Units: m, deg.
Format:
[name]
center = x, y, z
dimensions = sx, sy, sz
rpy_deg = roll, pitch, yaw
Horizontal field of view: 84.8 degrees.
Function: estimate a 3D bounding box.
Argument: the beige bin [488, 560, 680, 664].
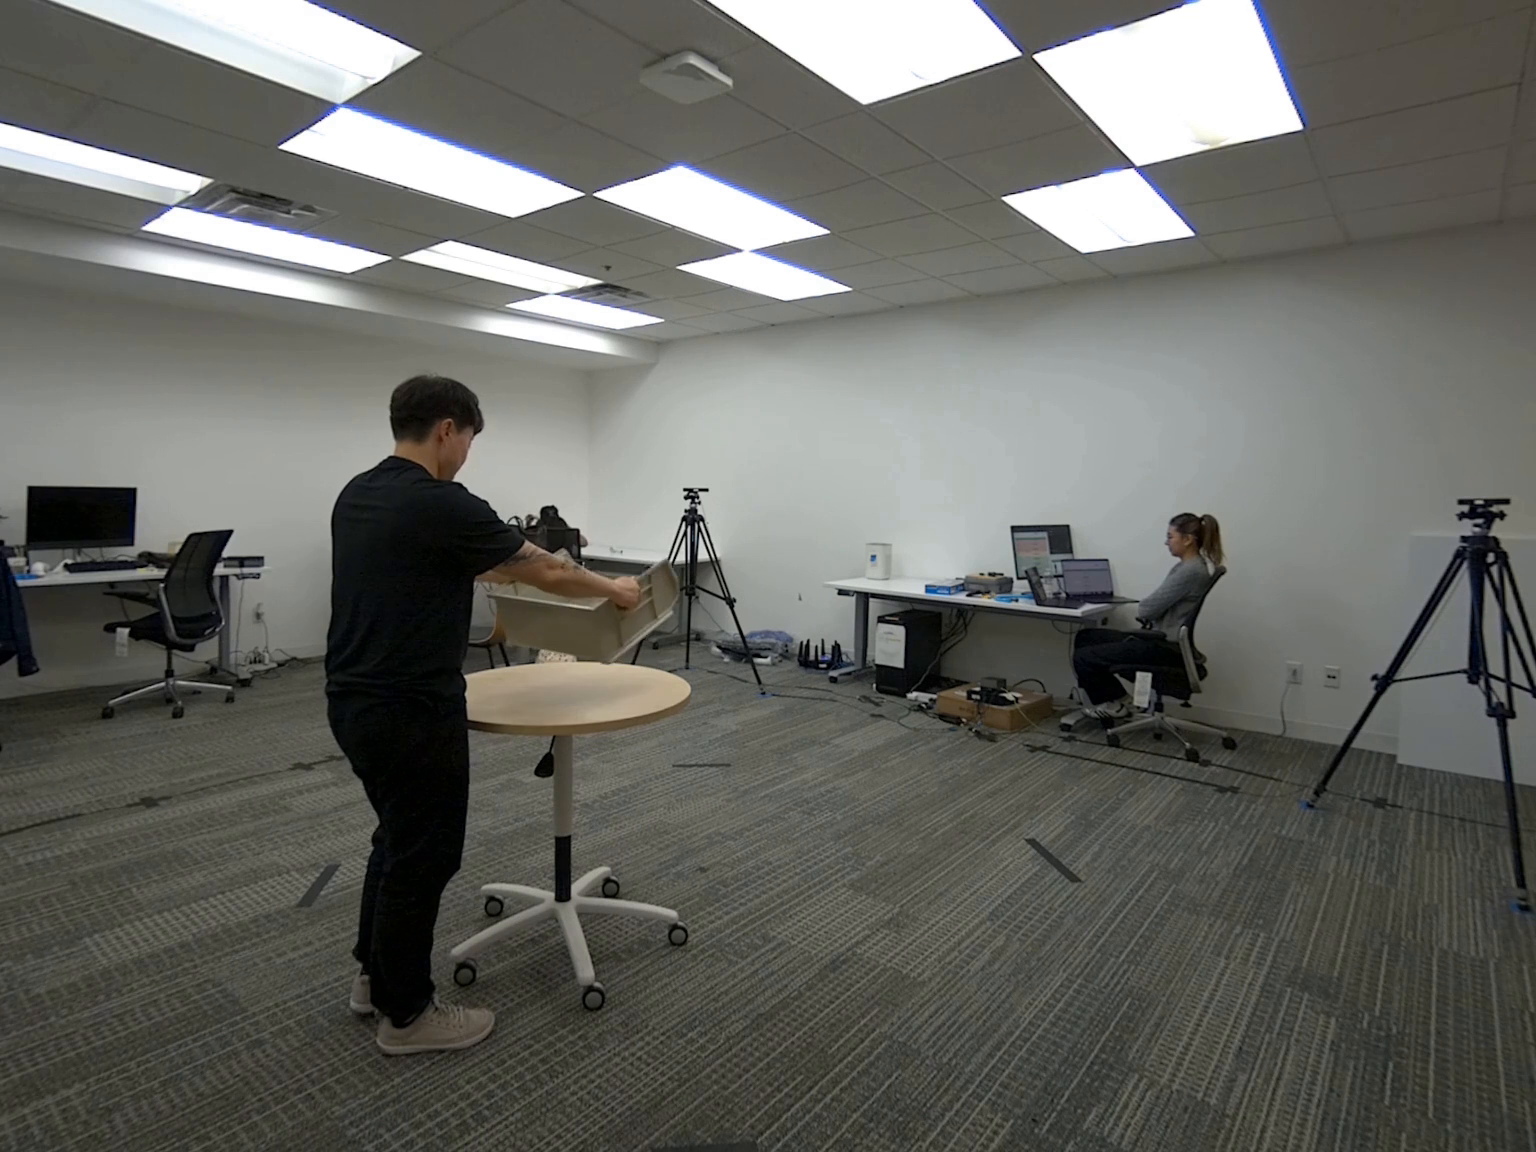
[beige bin]
center = -0.549, 0.068, 2.544
dimensions = 0.436, 0.184, 0.375
rpy_deg = 6, 28, 32
